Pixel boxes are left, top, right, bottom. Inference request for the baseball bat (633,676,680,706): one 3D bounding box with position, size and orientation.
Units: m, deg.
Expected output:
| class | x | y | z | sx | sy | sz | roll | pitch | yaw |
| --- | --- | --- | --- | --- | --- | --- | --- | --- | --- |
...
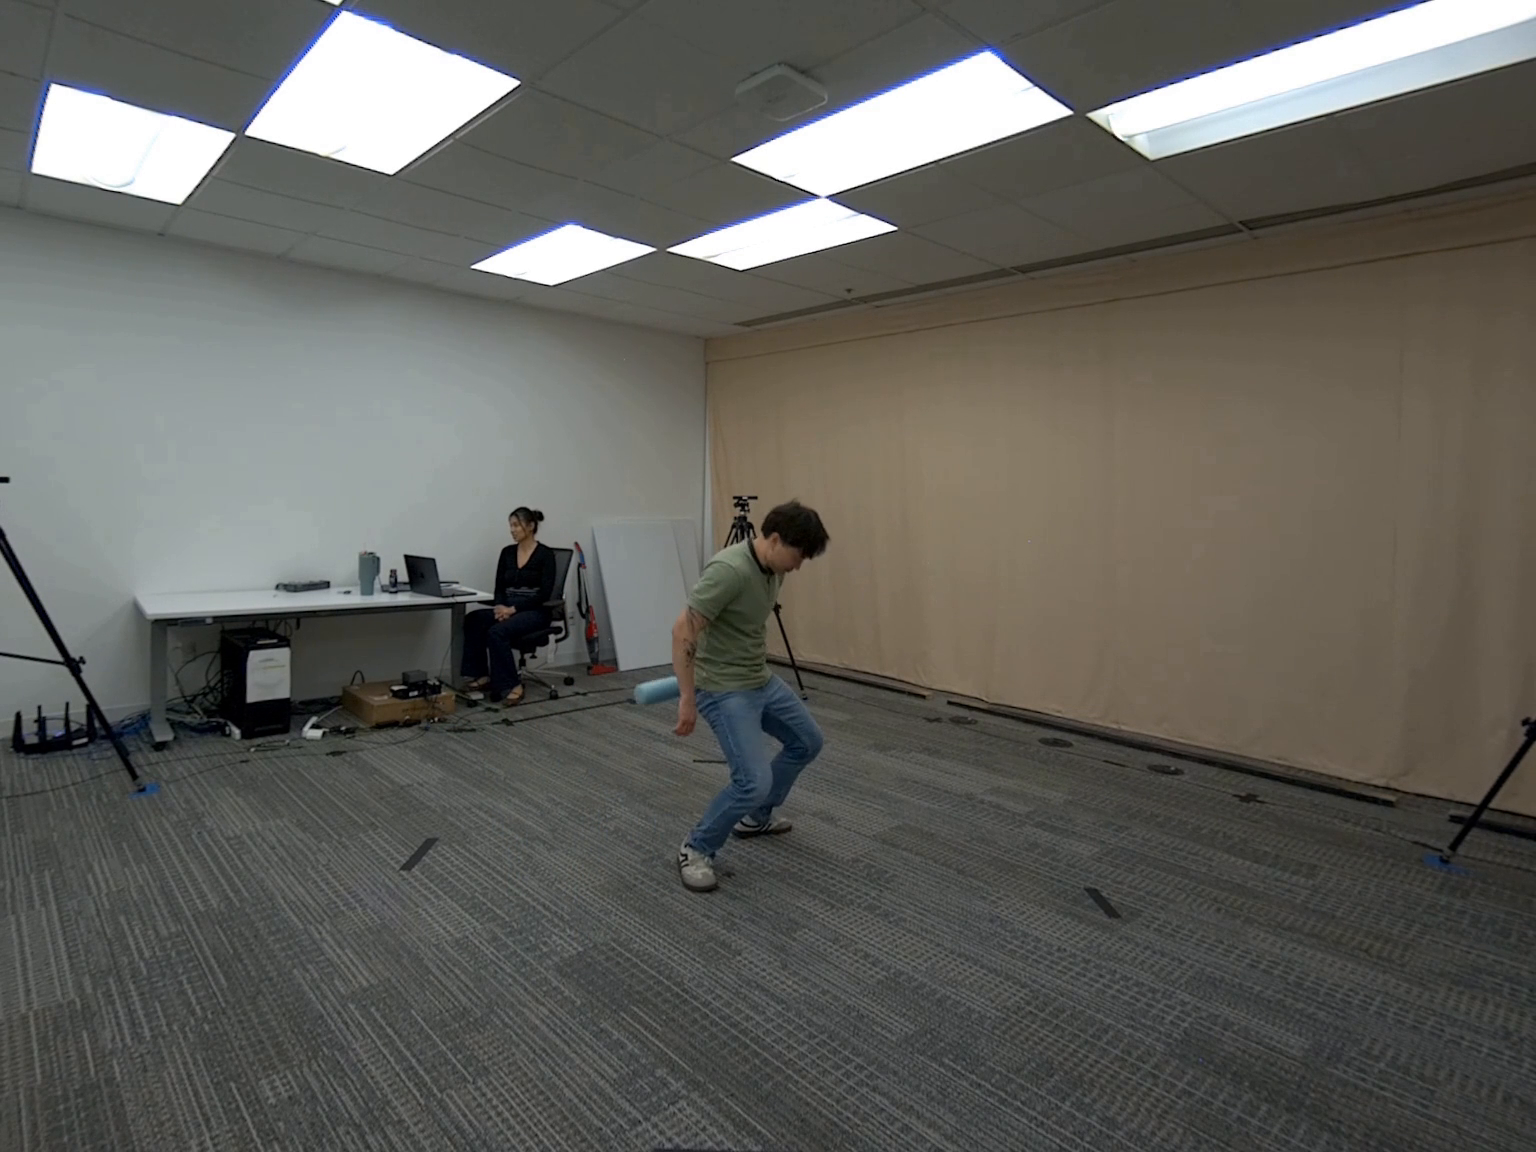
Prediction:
| class | x | y | z | sx | sy | sz | roll | pitch | yaw |
| --- | --- | --- | --- | --- | --- | --- | --- | --- | --- |
| baseball bat | -0.301 | 0.445 | 3.447 | 0.532 | 0.088 | 0.091 | -8 | 9 | -39 |
